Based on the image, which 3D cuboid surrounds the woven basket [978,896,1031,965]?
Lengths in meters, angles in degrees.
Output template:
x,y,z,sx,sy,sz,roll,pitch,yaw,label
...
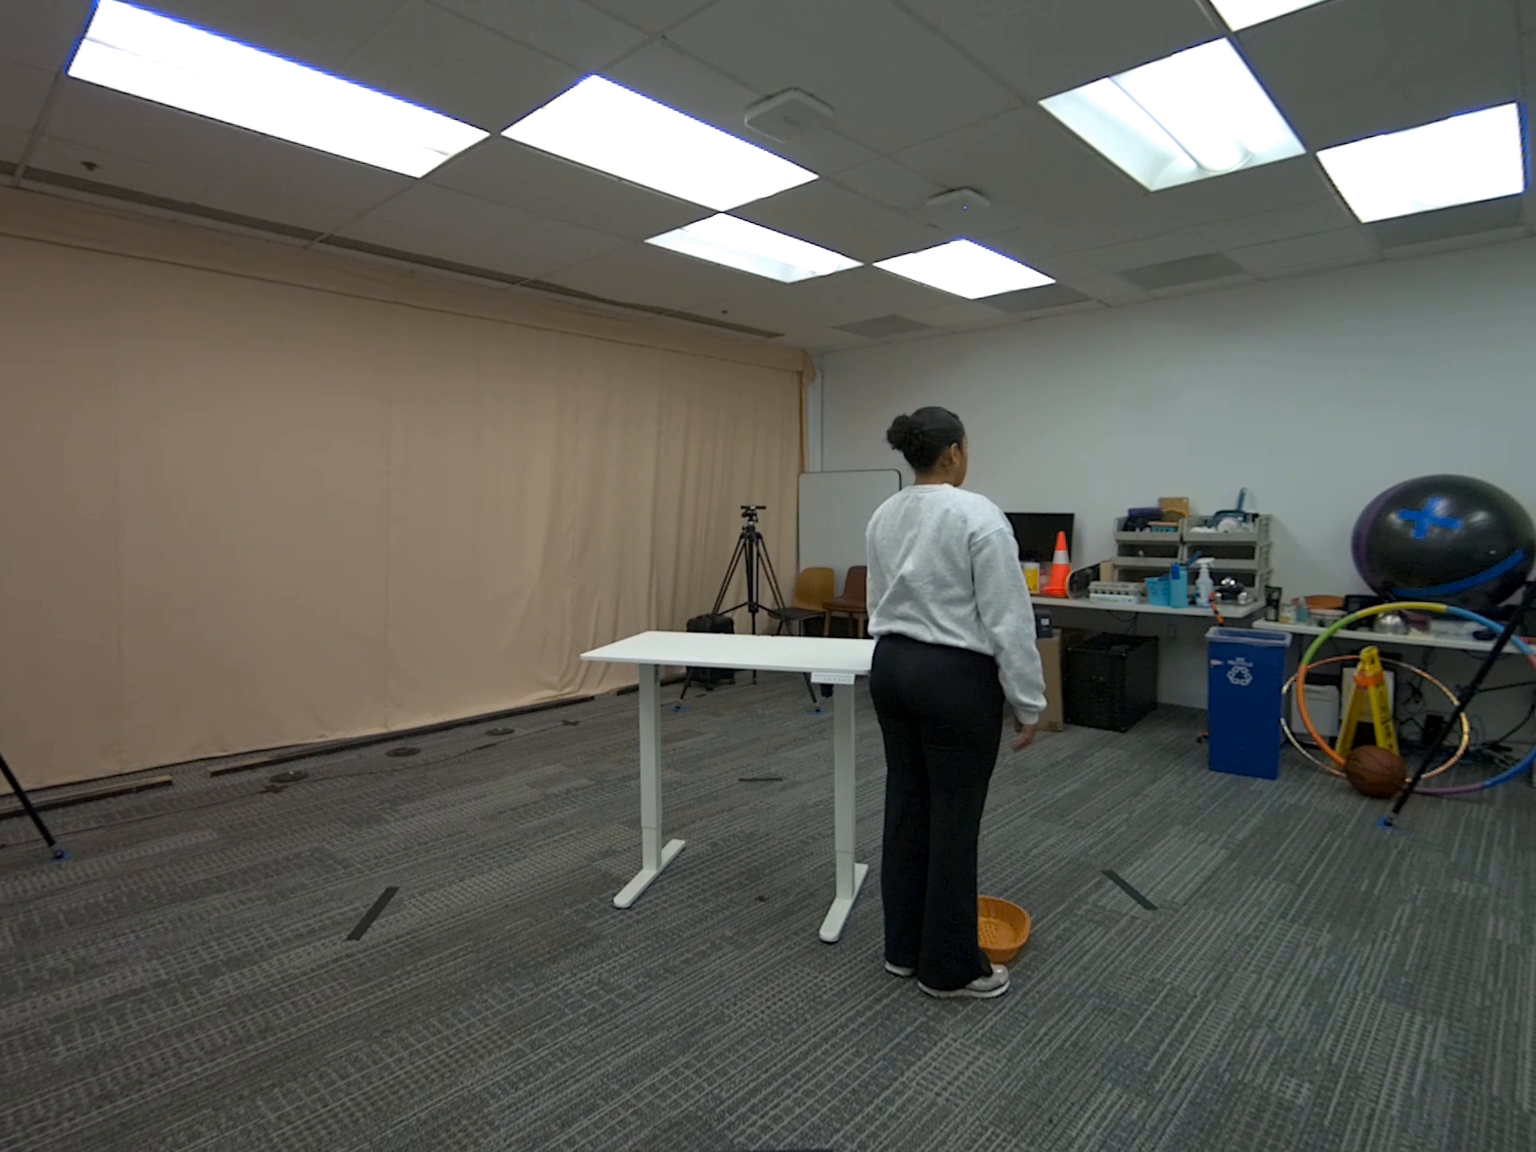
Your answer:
x,y,z,sx,sy,sz,roll,pitch,yaw,label
0.703,1.125,2.679,0.259,0.073,0.342,3,6,26,woven basket
